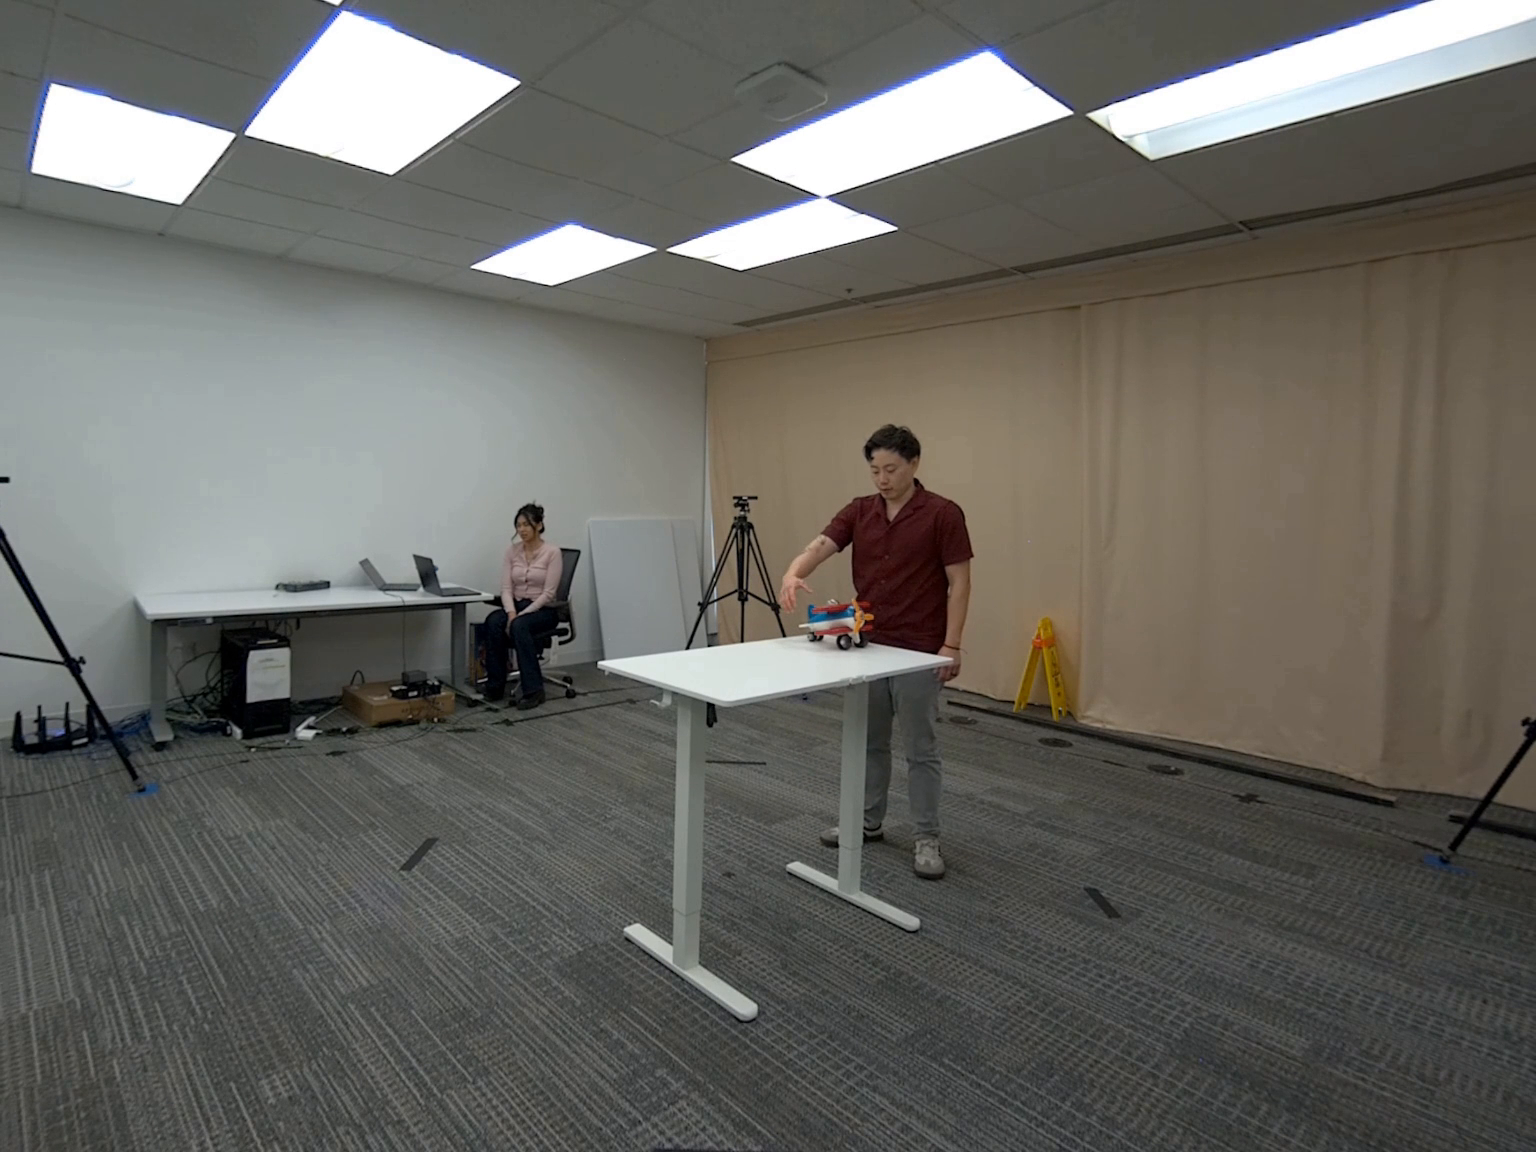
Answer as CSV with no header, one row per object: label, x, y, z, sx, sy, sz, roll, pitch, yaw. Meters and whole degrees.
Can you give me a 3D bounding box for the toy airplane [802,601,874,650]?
toy airplane,0.212,0.165,2.943,0.264,0.156,0.247,5,5,20
